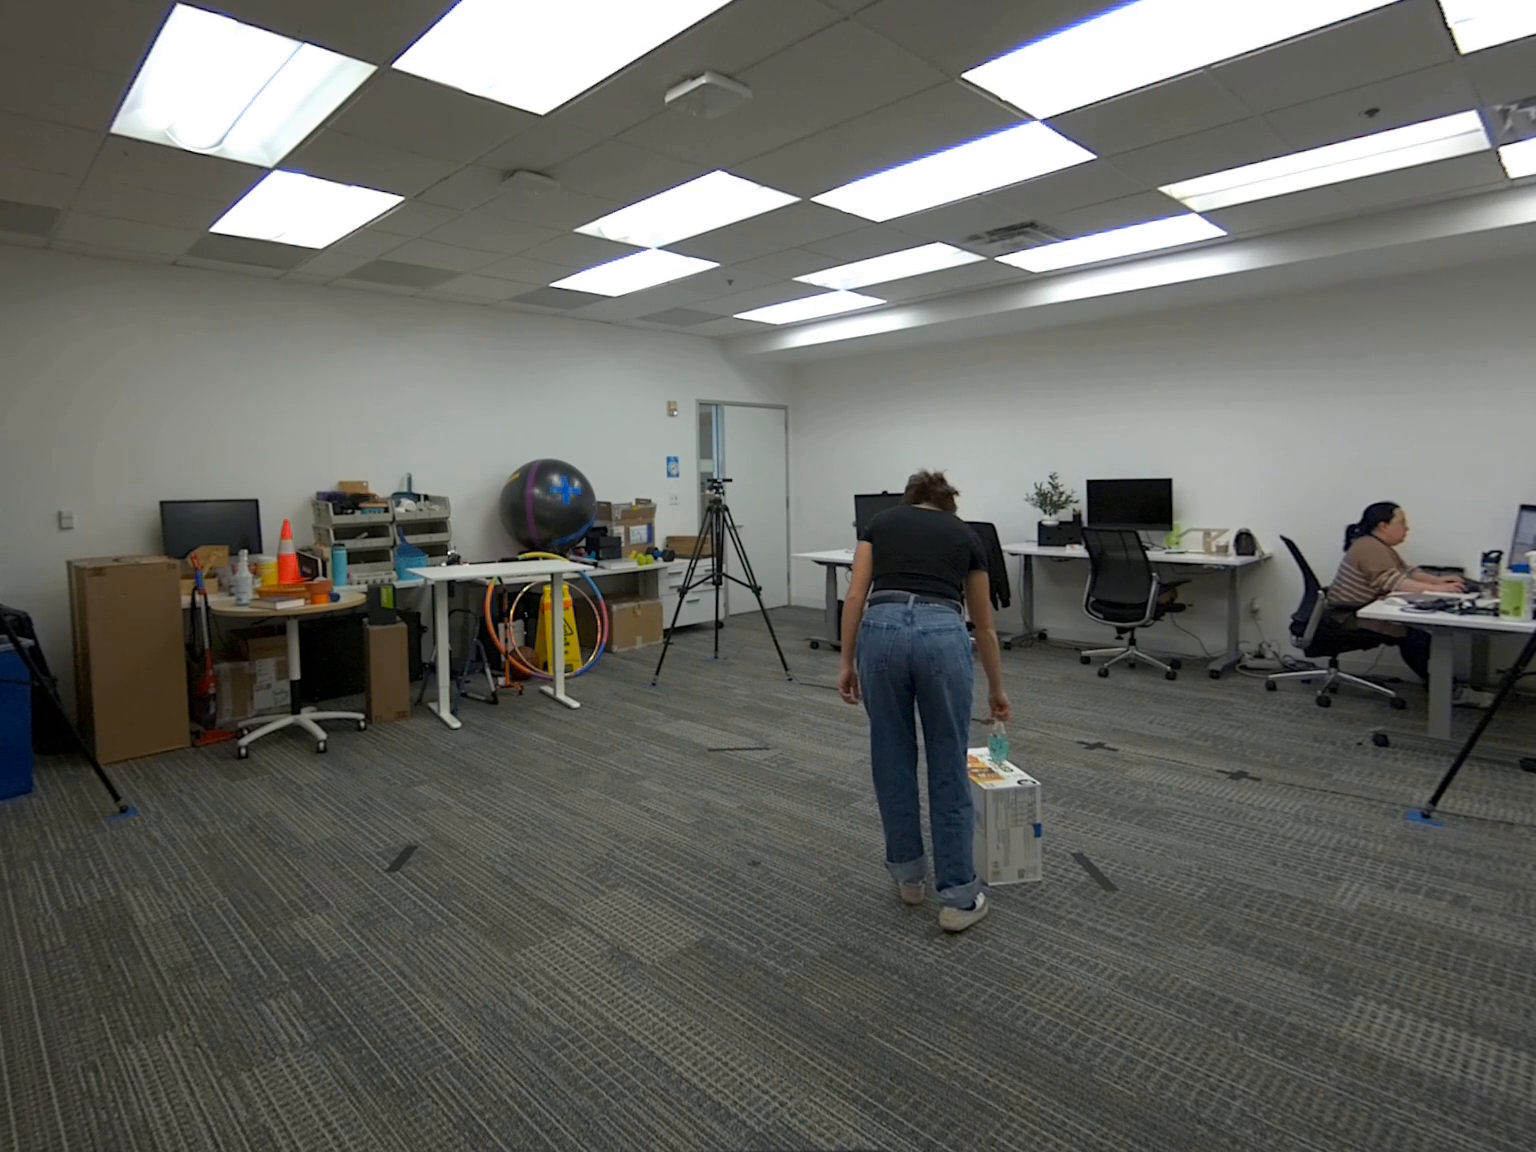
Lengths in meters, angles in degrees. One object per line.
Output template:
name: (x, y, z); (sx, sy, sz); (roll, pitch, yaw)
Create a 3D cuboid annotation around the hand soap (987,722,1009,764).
hand soap: (0.821, 0.576, 3.014); (0.043, 0.166, 0.087); (-3, 11, -17)
